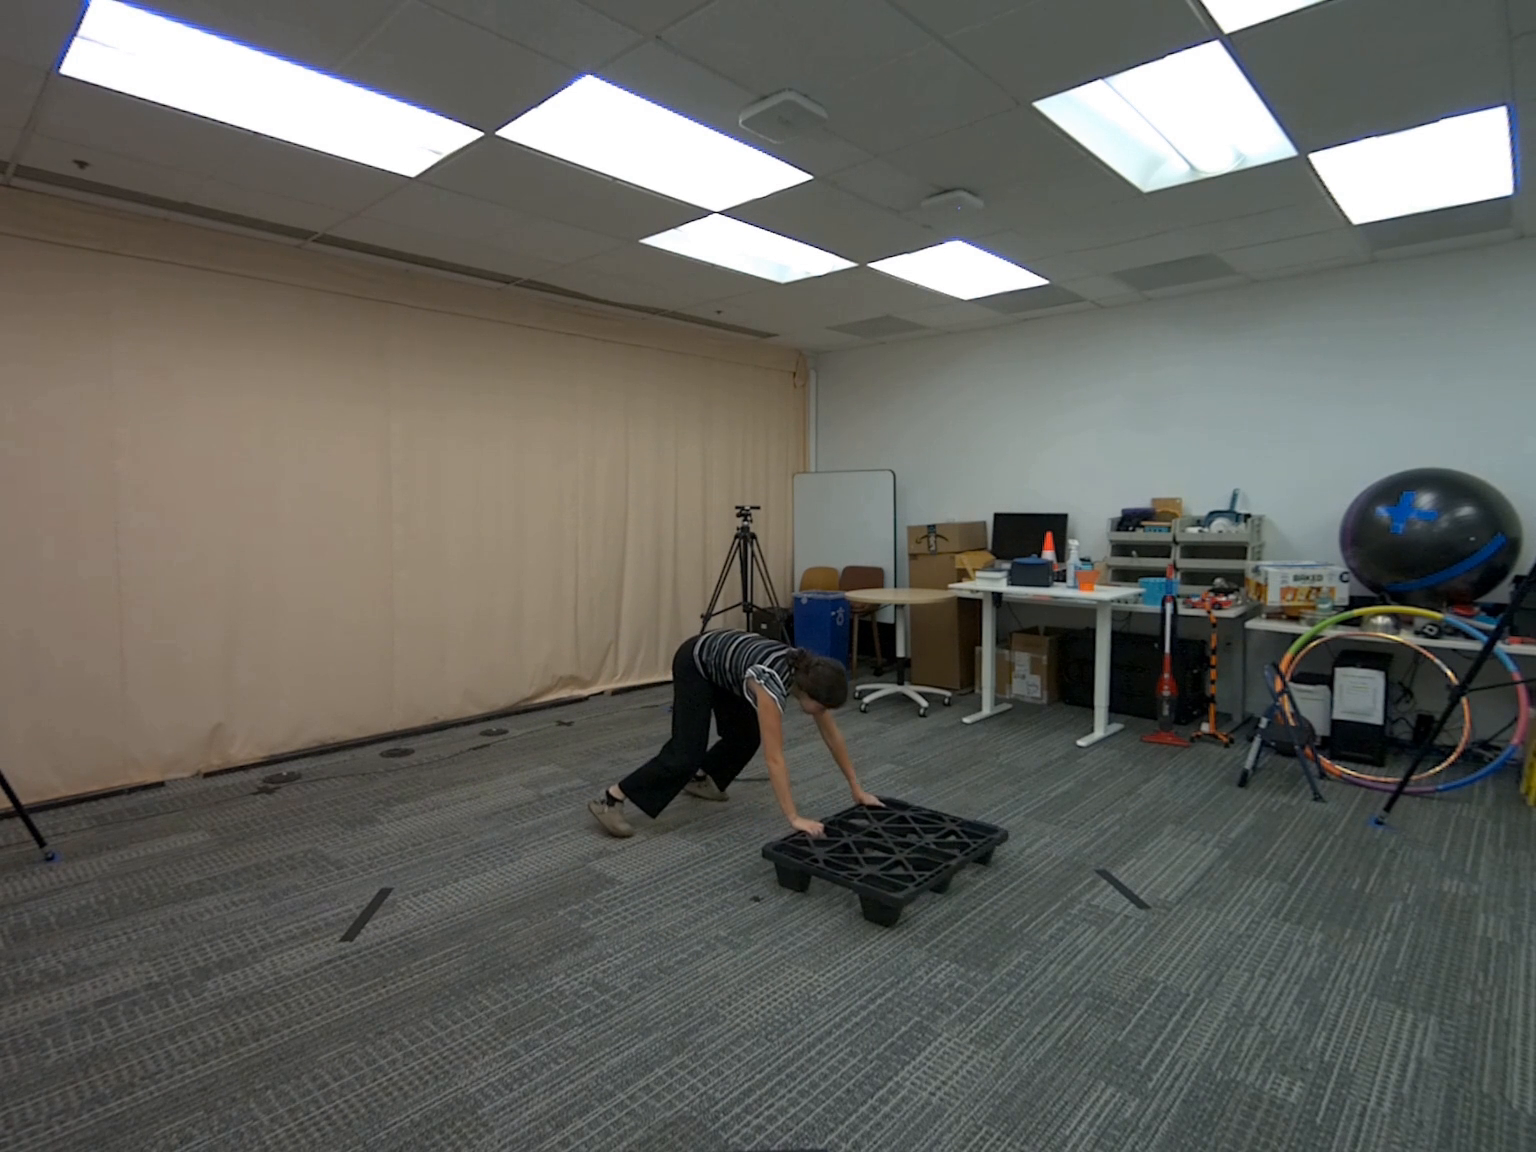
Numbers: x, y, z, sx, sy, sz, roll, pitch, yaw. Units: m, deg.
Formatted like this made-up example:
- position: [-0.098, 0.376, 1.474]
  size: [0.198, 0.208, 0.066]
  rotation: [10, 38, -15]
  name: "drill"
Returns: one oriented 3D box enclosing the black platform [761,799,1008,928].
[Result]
- position: [0.464, 1.056, 3.184]
  size: [0.625, 0.143, 0.781]
  rotation: [5, 7, 42]
  name: "black platform"
